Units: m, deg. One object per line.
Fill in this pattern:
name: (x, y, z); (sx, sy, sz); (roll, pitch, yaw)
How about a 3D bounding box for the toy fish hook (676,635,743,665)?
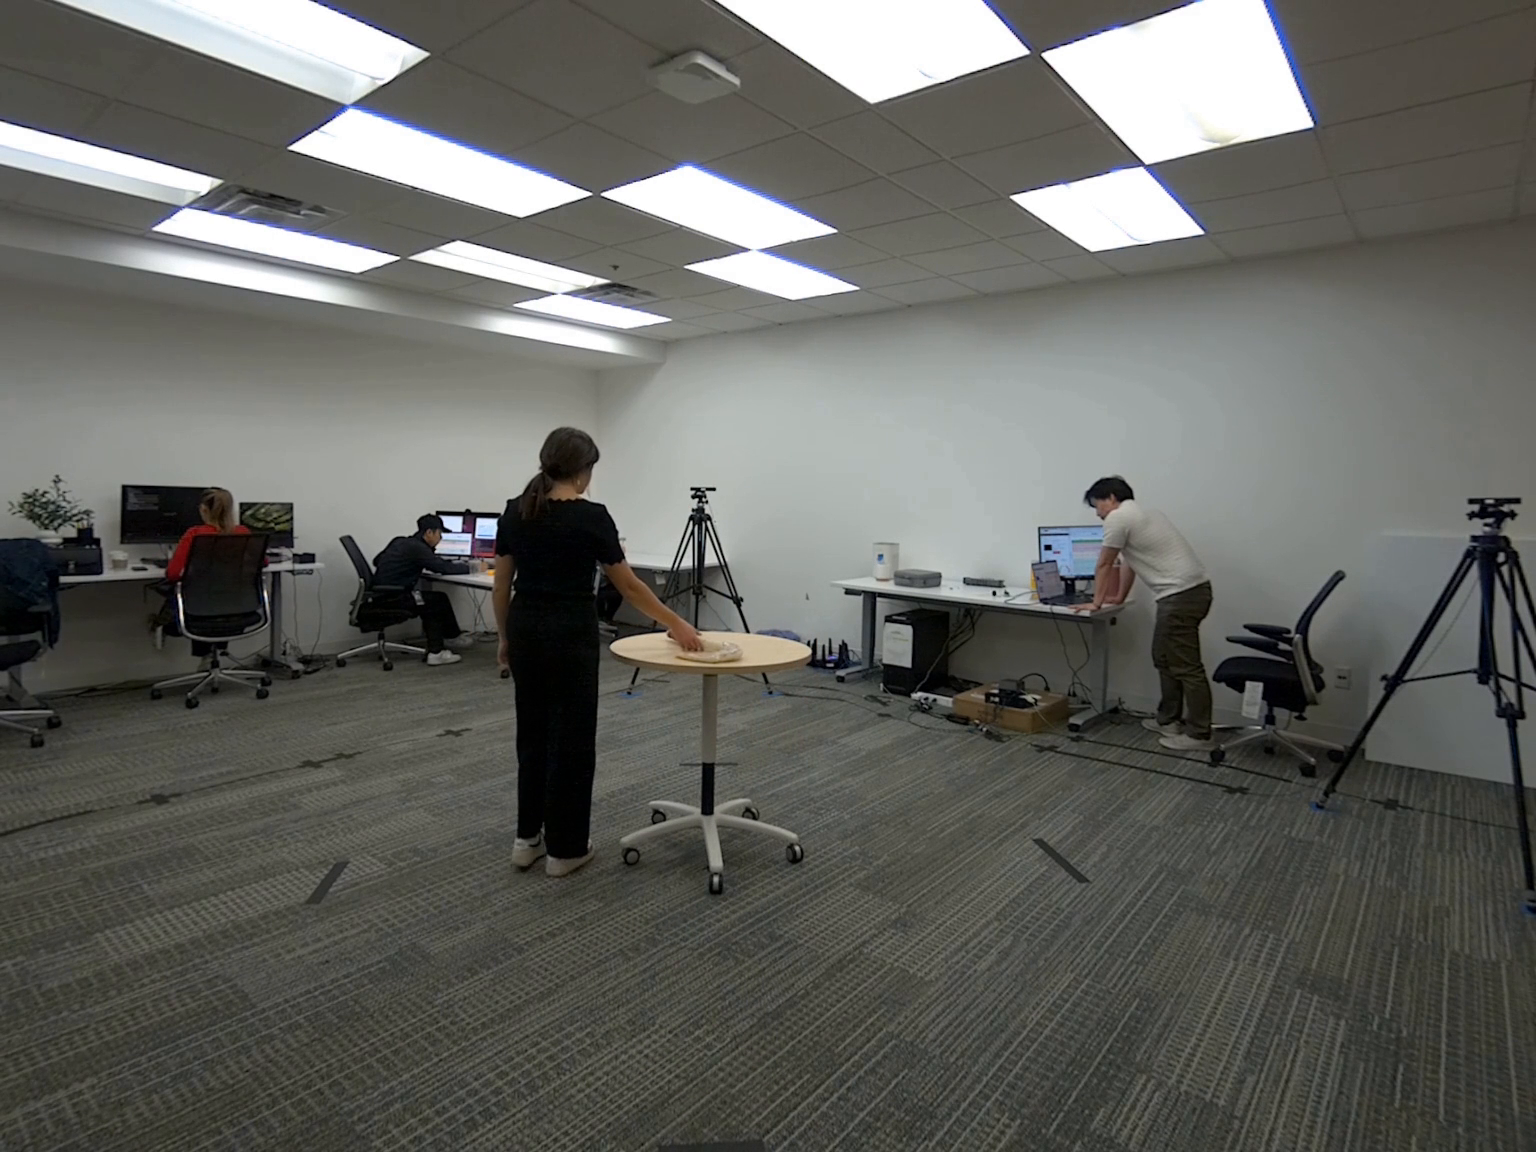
toy fish hook: (-0.303, 0.255, 3.146); (0.218, 0.048, 0.523); (3, 3, -34)
